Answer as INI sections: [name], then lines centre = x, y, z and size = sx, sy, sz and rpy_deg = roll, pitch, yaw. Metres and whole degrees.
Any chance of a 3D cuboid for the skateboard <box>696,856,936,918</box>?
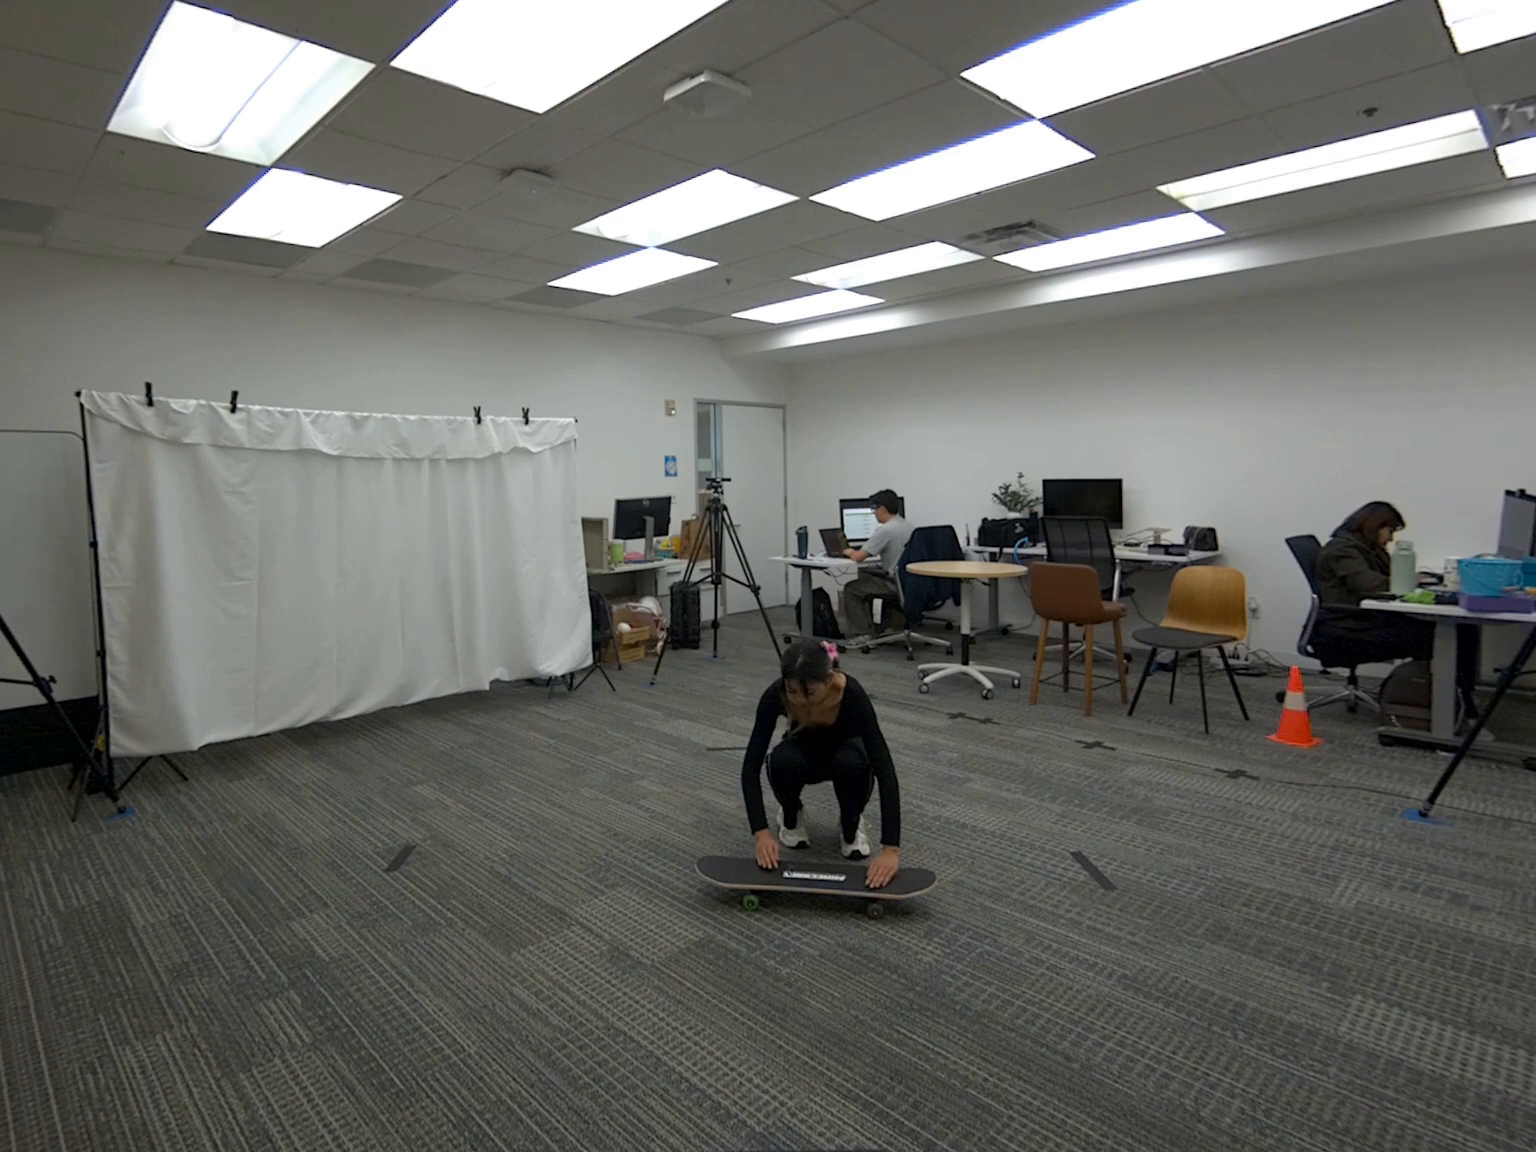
[skateboard]
centre = 0.143, 1.010, 2.813
size = 0.793, 0.110, 0.192
rpy_deg = 0, 6, 10
